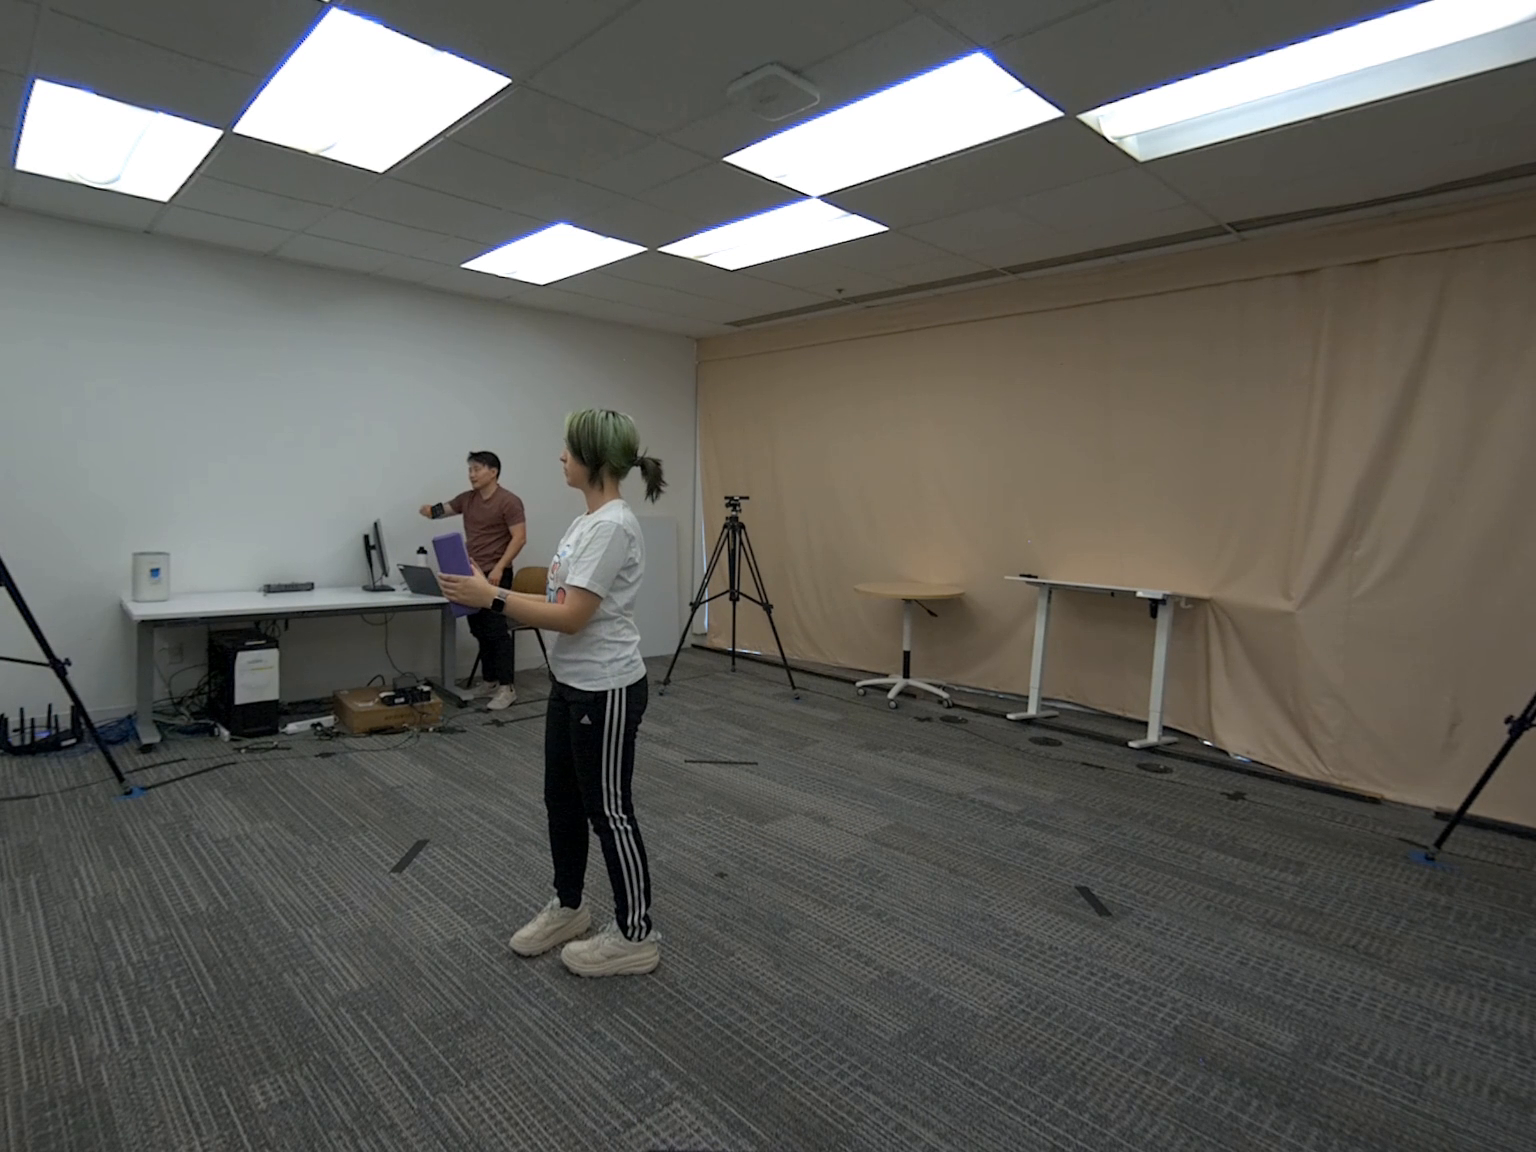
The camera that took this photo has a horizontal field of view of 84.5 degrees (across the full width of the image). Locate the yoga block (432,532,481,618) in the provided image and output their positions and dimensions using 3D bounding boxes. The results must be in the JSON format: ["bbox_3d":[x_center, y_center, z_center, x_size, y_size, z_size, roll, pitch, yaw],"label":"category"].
[{"bbox_3d":[-0.875,-0.009,2.367,0.076,0.228,0.151,-16,7,-14],"label":"yoga block"}]
